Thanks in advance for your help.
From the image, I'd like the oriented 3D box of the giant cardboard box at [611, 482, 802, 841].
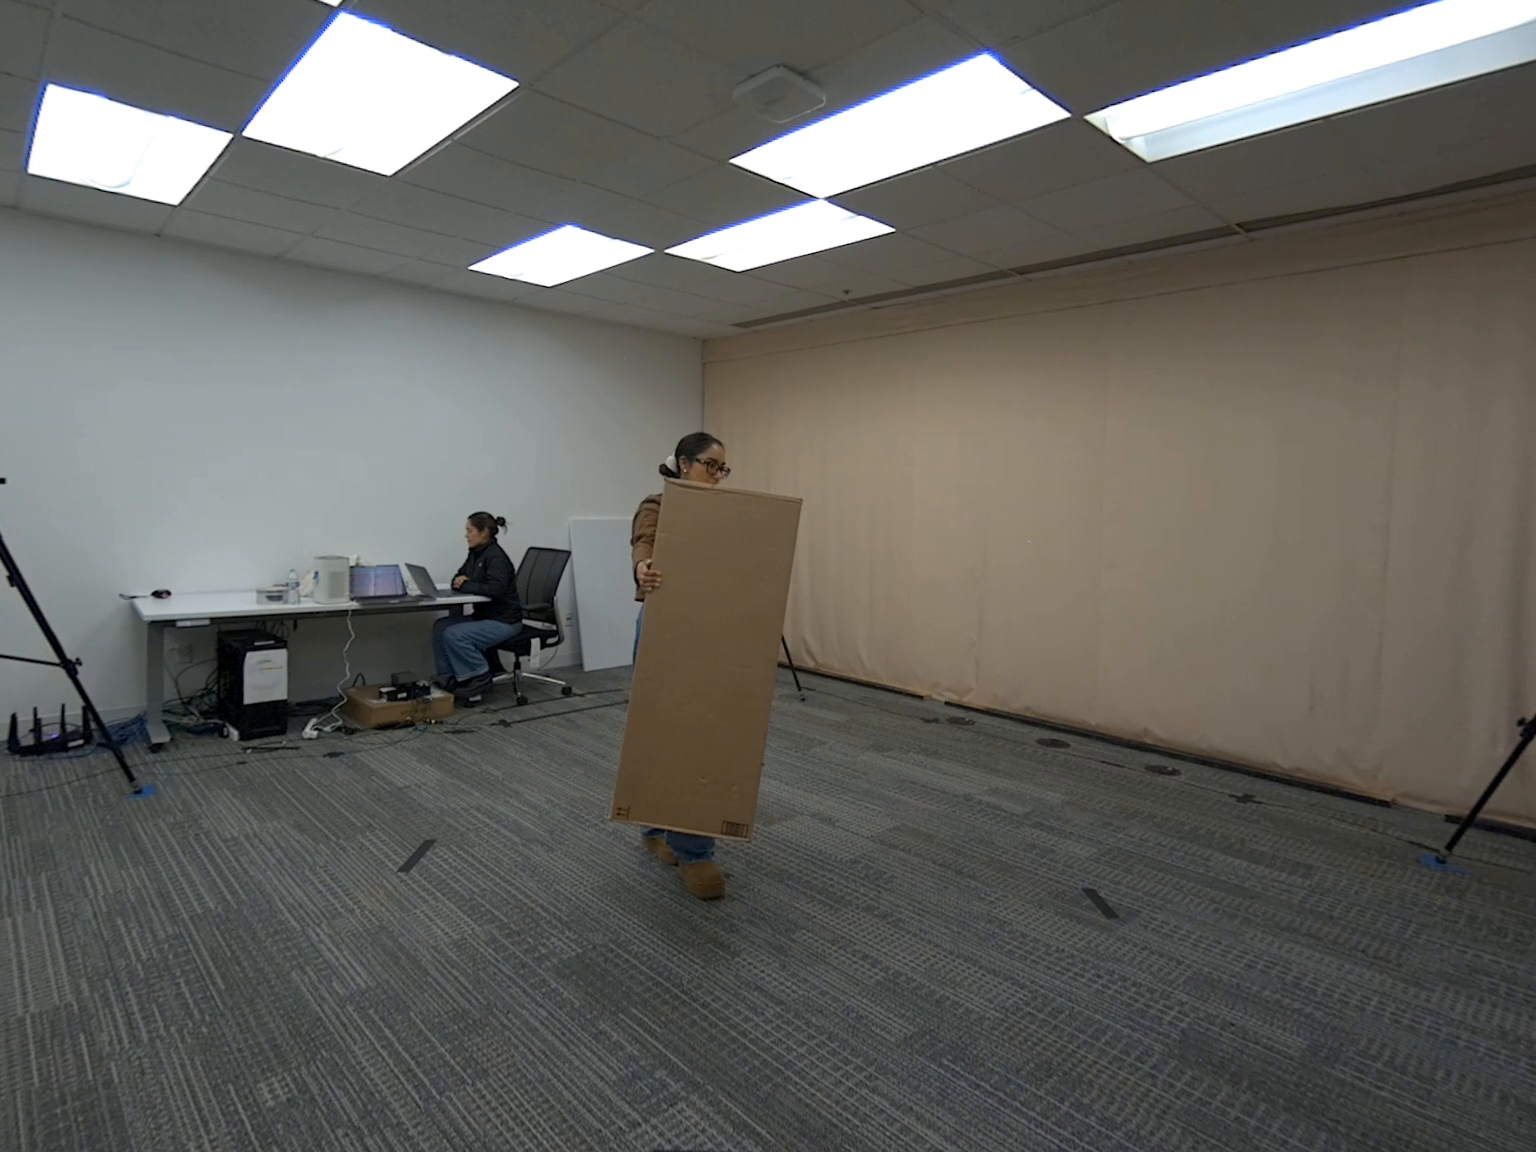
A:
[{"bbox_3d":[-0.206,0.253,2.768,0.426,1.028,0.576,9,-3,-1],"label":"giant cardboard box"}]
